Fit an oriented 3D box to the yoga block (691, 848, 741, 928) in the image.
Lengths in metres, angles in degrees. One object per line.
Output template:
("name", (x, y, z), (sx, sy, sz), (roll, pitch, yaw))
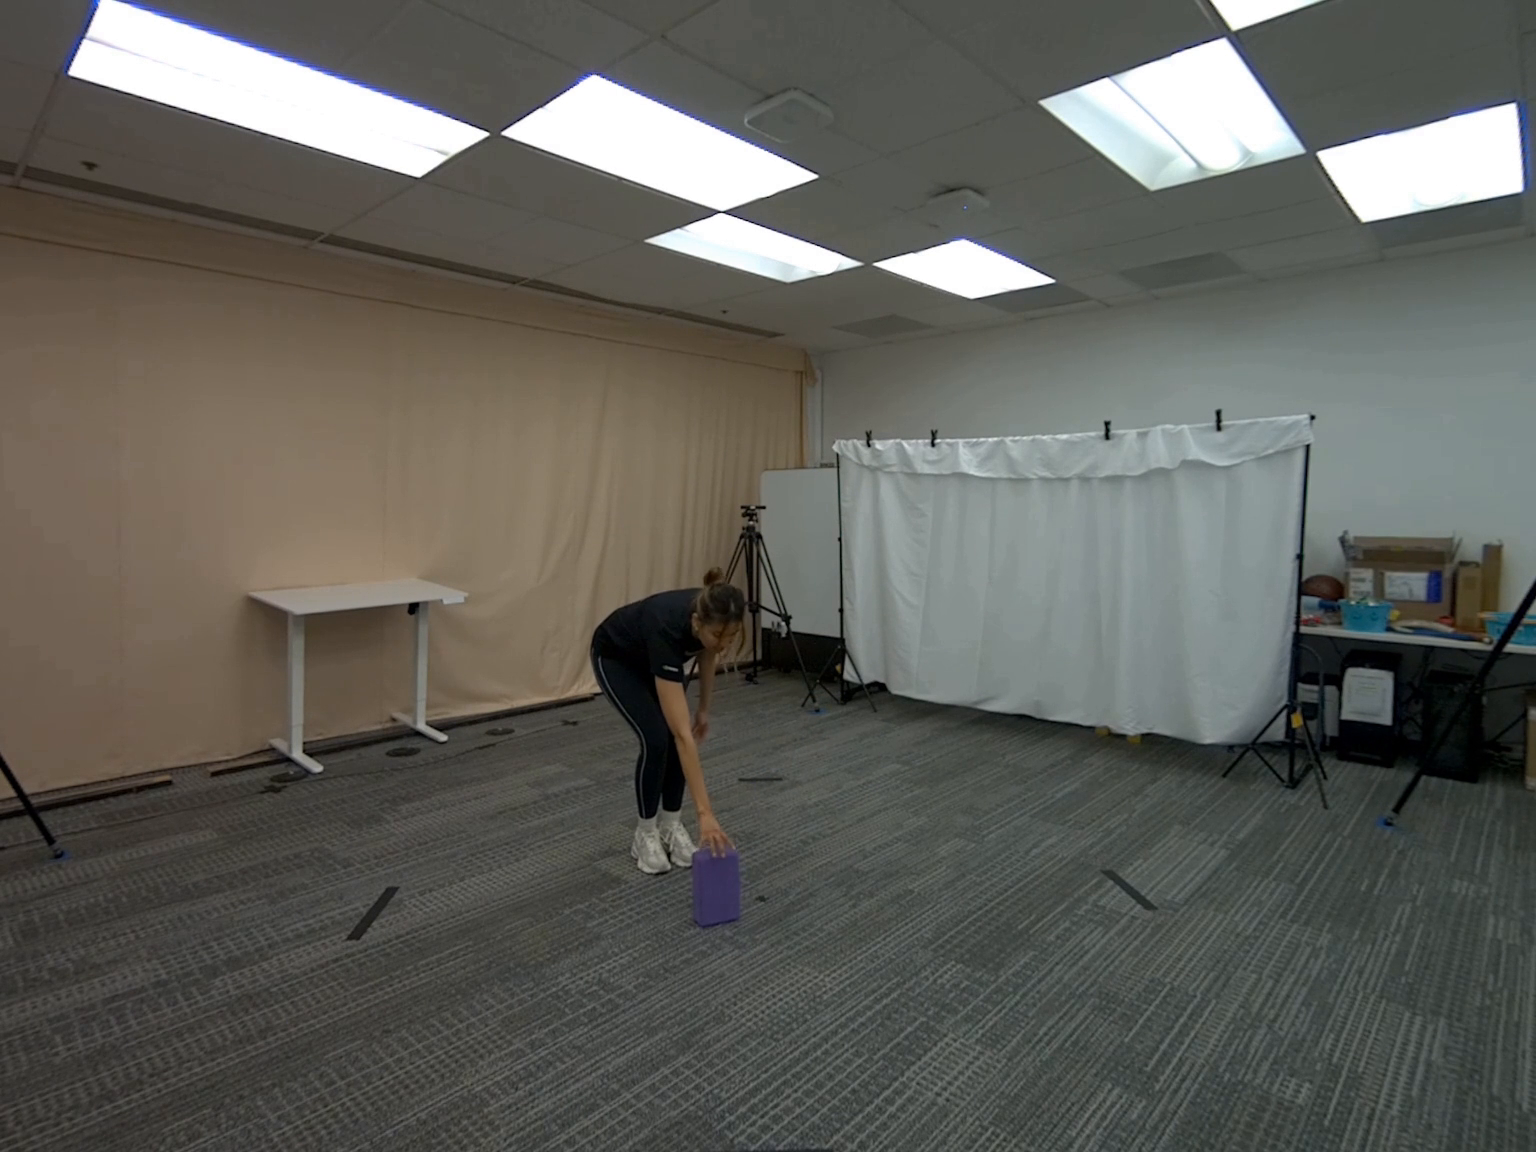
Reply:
("yoga block", (-0.171, 1.041, 2.824), (0.145, 0.229, 0.078), (-2, 3, -24))
